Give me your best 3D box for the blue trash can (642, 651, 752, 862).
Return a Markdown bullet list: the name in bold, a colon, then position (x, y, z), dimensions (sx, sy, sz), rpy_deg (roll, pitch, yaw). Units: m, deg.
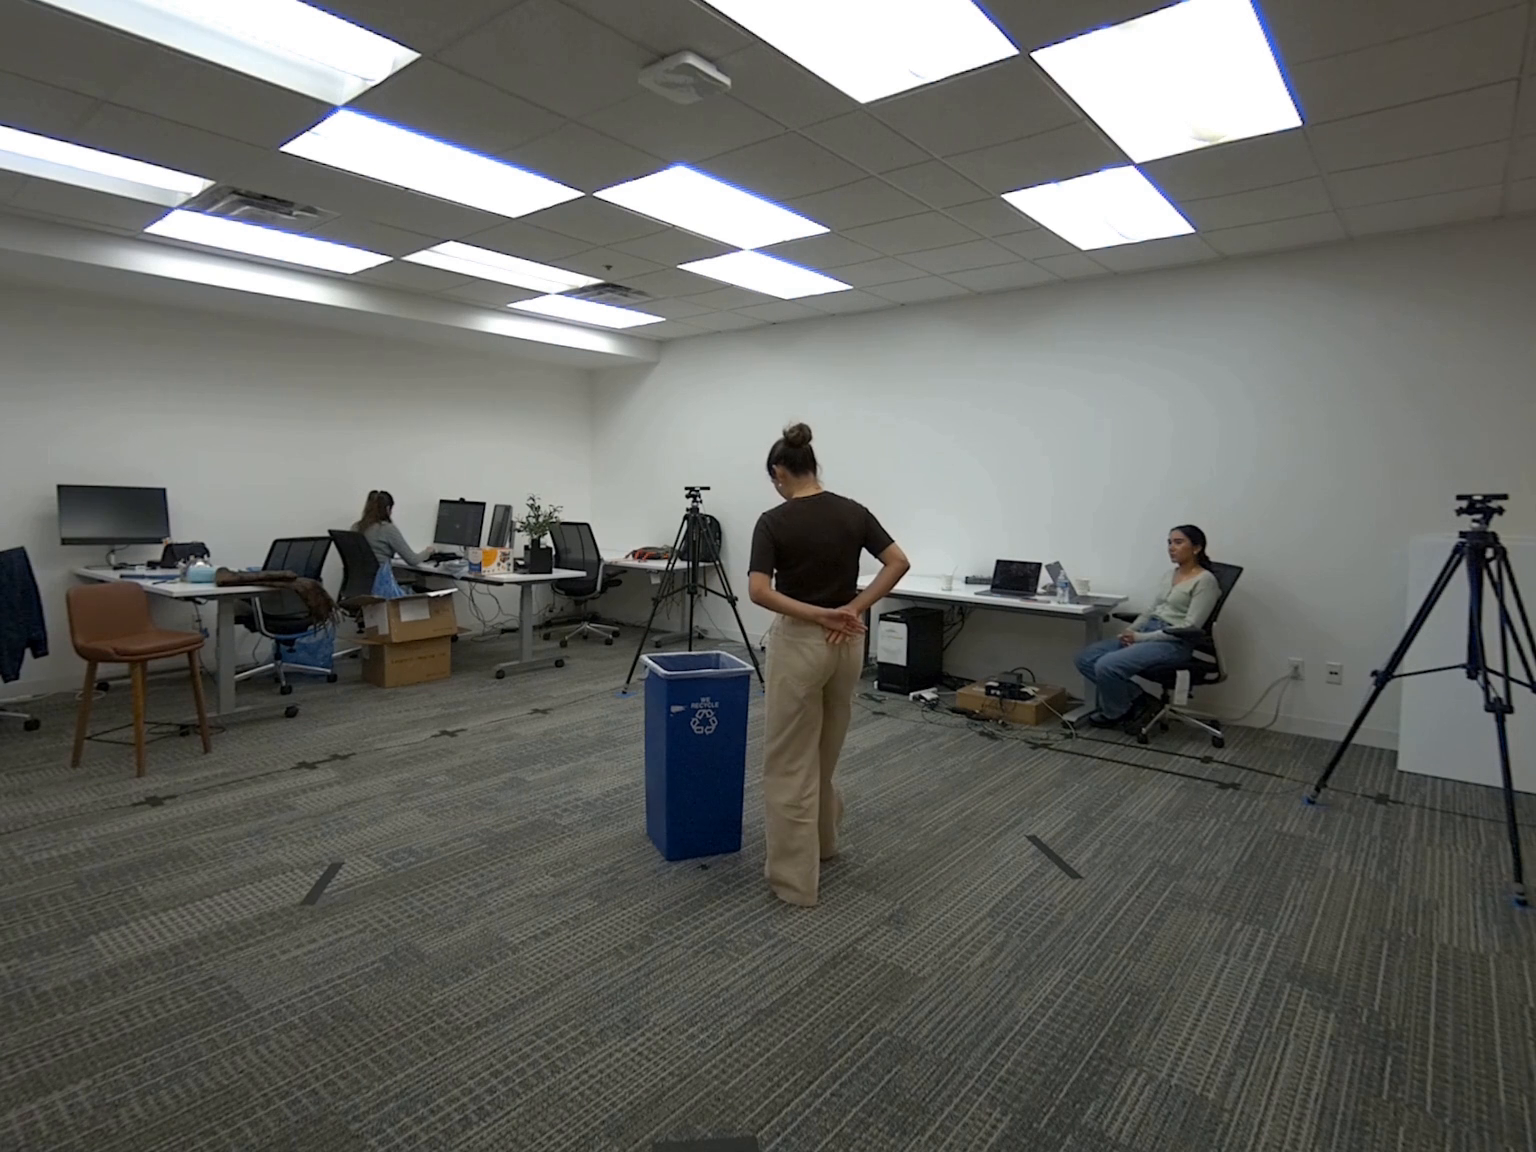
- **blue trash can**: position (-0.296, 0.683, 3.324), dimensions (0.370, 0.711, 0.383), rpy_deg (0, 3, -23)
